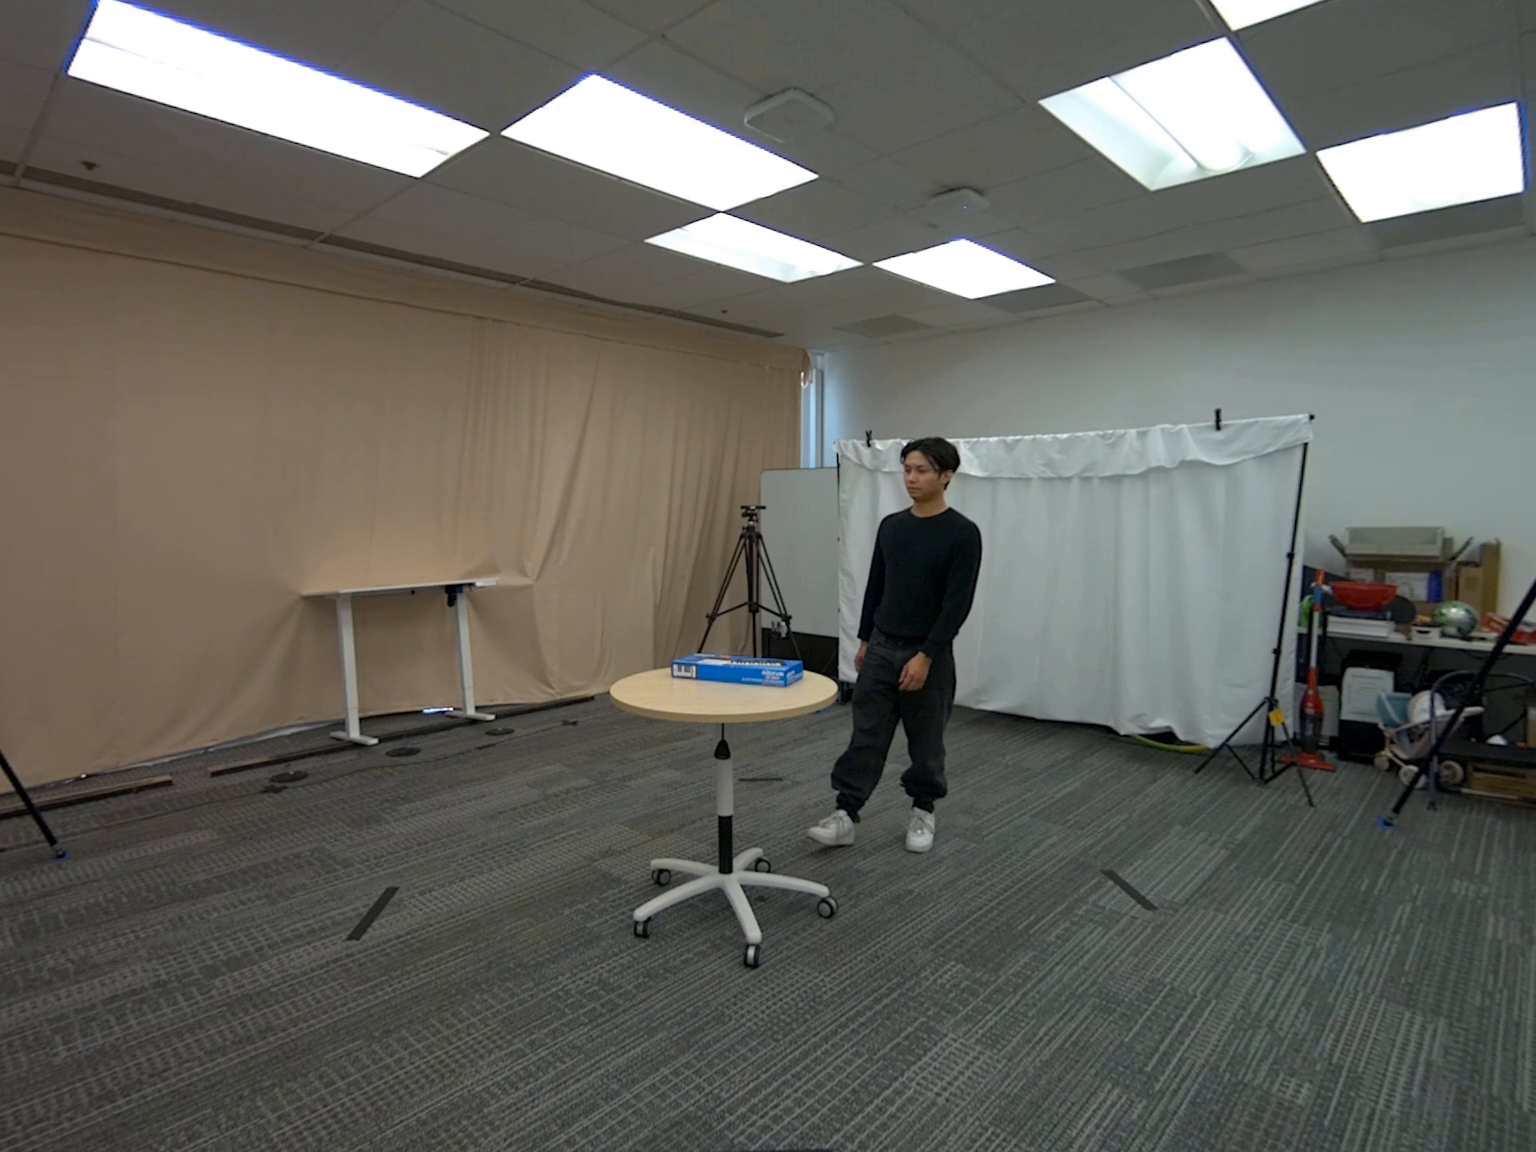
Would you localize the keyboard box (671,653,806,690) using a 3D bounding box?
[{"bbox_3d":[-0.107,0.330,2.974,0.448,0.059,0.172,2,5,25],"label":"keyboard box"}]
